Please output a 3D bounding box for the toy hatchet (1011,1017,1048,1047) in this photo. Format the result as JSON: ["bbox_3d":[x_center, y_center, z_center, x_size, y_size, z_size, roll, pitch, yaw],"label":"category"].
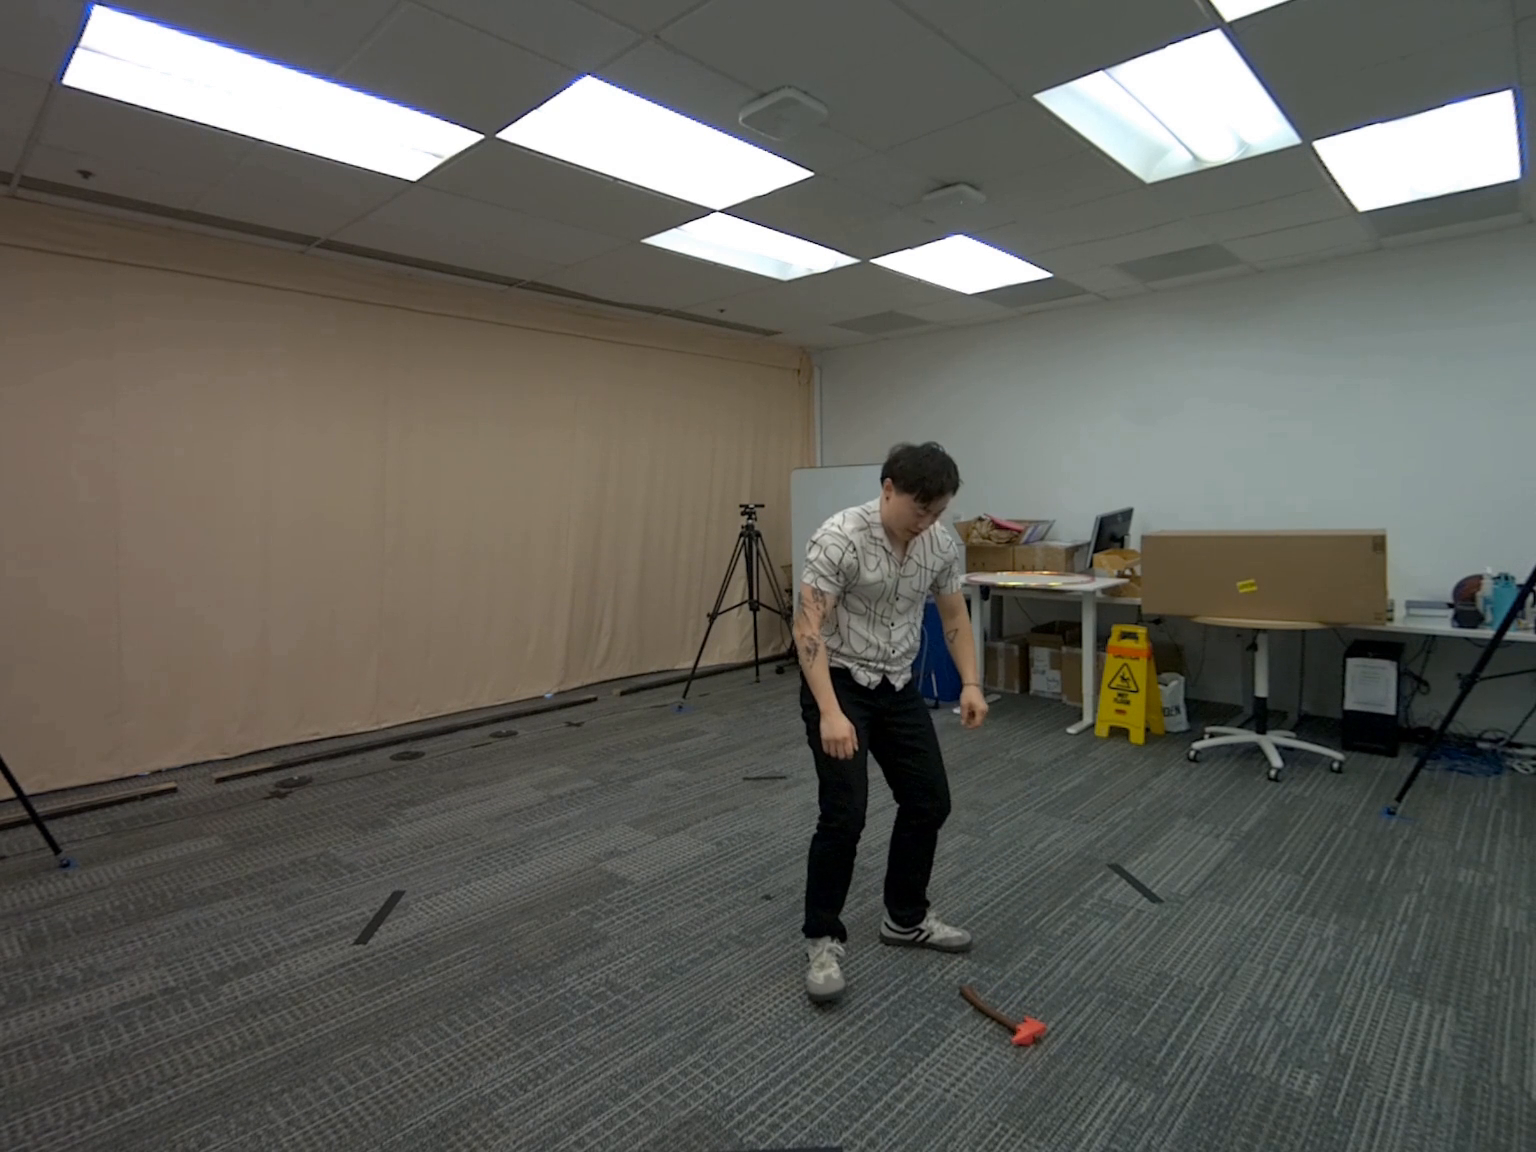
[{"bbox_3d":[0.654,1.181,2.273,0.129,0.029,0.275,-3,3,-17],"label":"toy hatchet"}]
